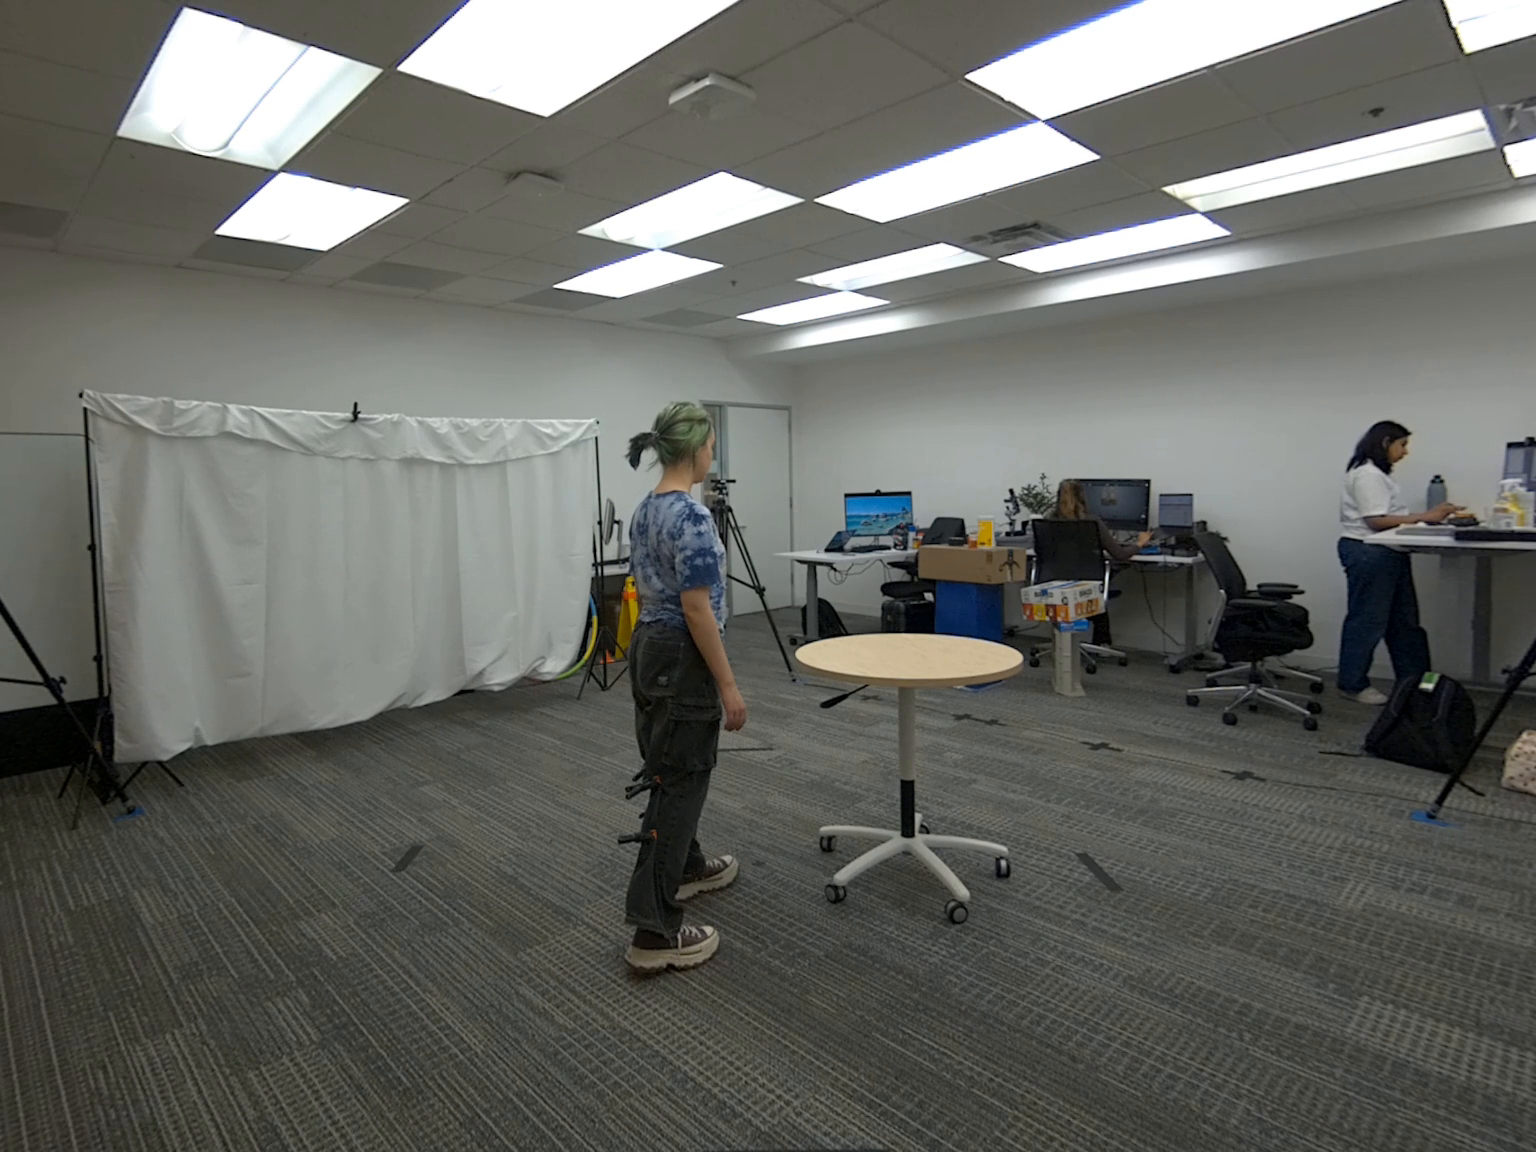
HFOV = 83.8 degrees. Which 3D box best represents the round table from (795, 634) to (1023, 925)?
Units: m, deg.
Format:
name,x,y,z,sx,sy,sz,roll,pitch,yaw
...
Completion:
name,x,y,z,sx,sy,sz,roll,pitch,yaw
round table,0.483,0.663,2.982,0.763,0.791,0.768,-1,5,-2
